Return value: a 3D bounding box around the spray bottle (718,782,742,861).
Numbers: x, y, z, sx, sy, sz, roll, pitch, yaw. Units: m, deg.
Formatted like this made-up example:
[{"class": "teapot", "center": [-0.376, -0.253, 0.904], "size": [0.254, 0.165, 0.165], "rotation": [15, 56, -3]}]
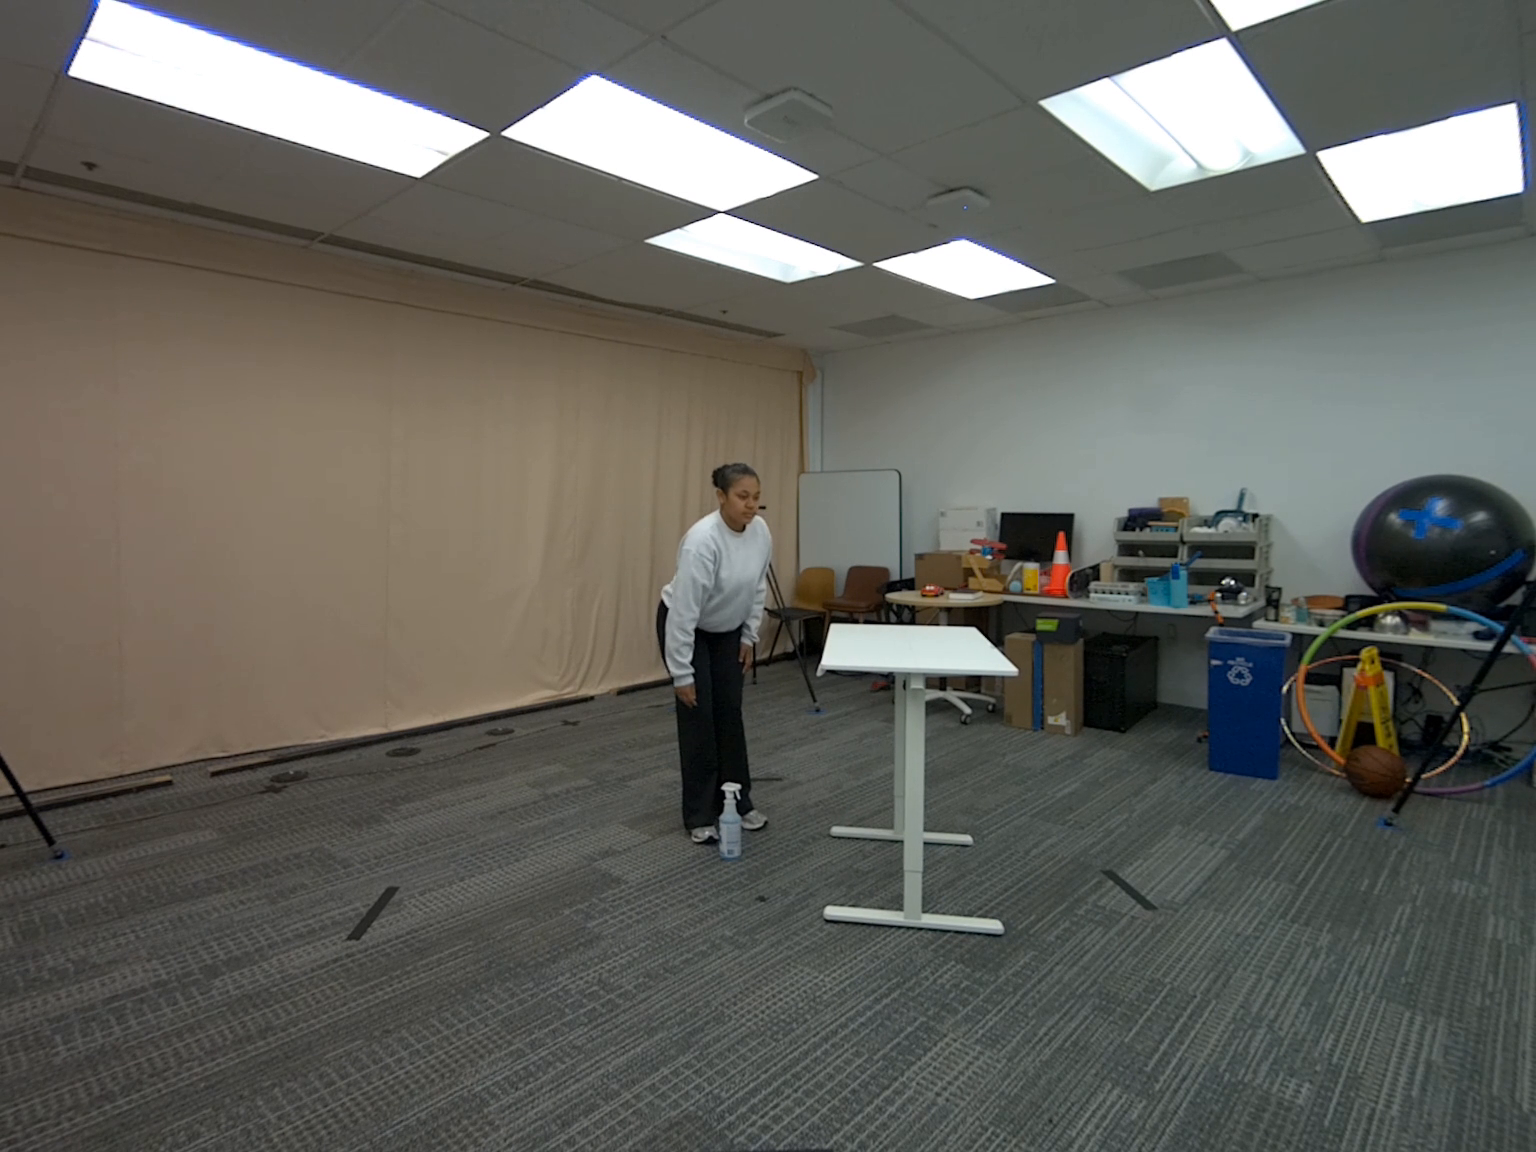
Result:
[{"class": "spray bottle", "center": [-0.148, 0.960, 3.332], "size": [0.085, 0.296, 0.093], "rotation": [-3, 7, -29]}]
